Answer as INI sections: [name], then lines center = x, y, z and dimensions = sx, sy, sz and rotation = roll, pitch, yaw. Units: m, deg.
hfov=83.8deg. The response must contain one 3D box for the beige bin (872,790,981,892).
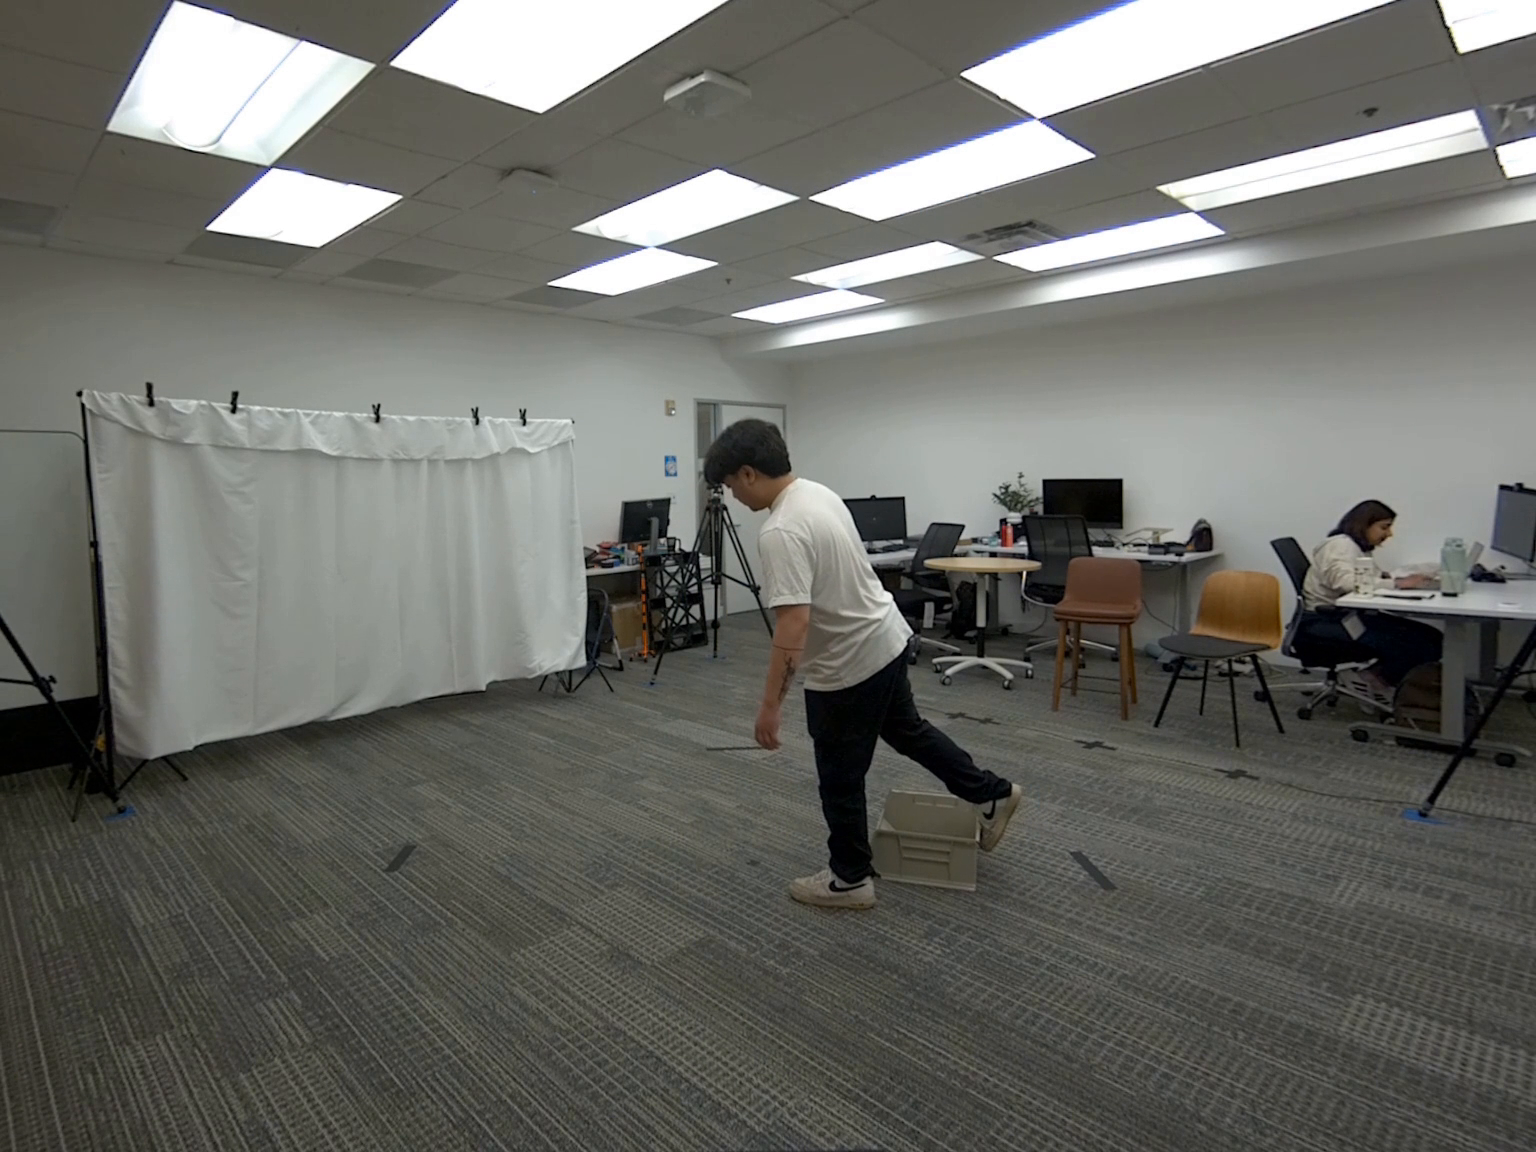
[beige bin]
center = 0.579, 0.943, 3.104
dimensions = 0.383, 0.188, 0.417
rotation = 1, 6, 16
